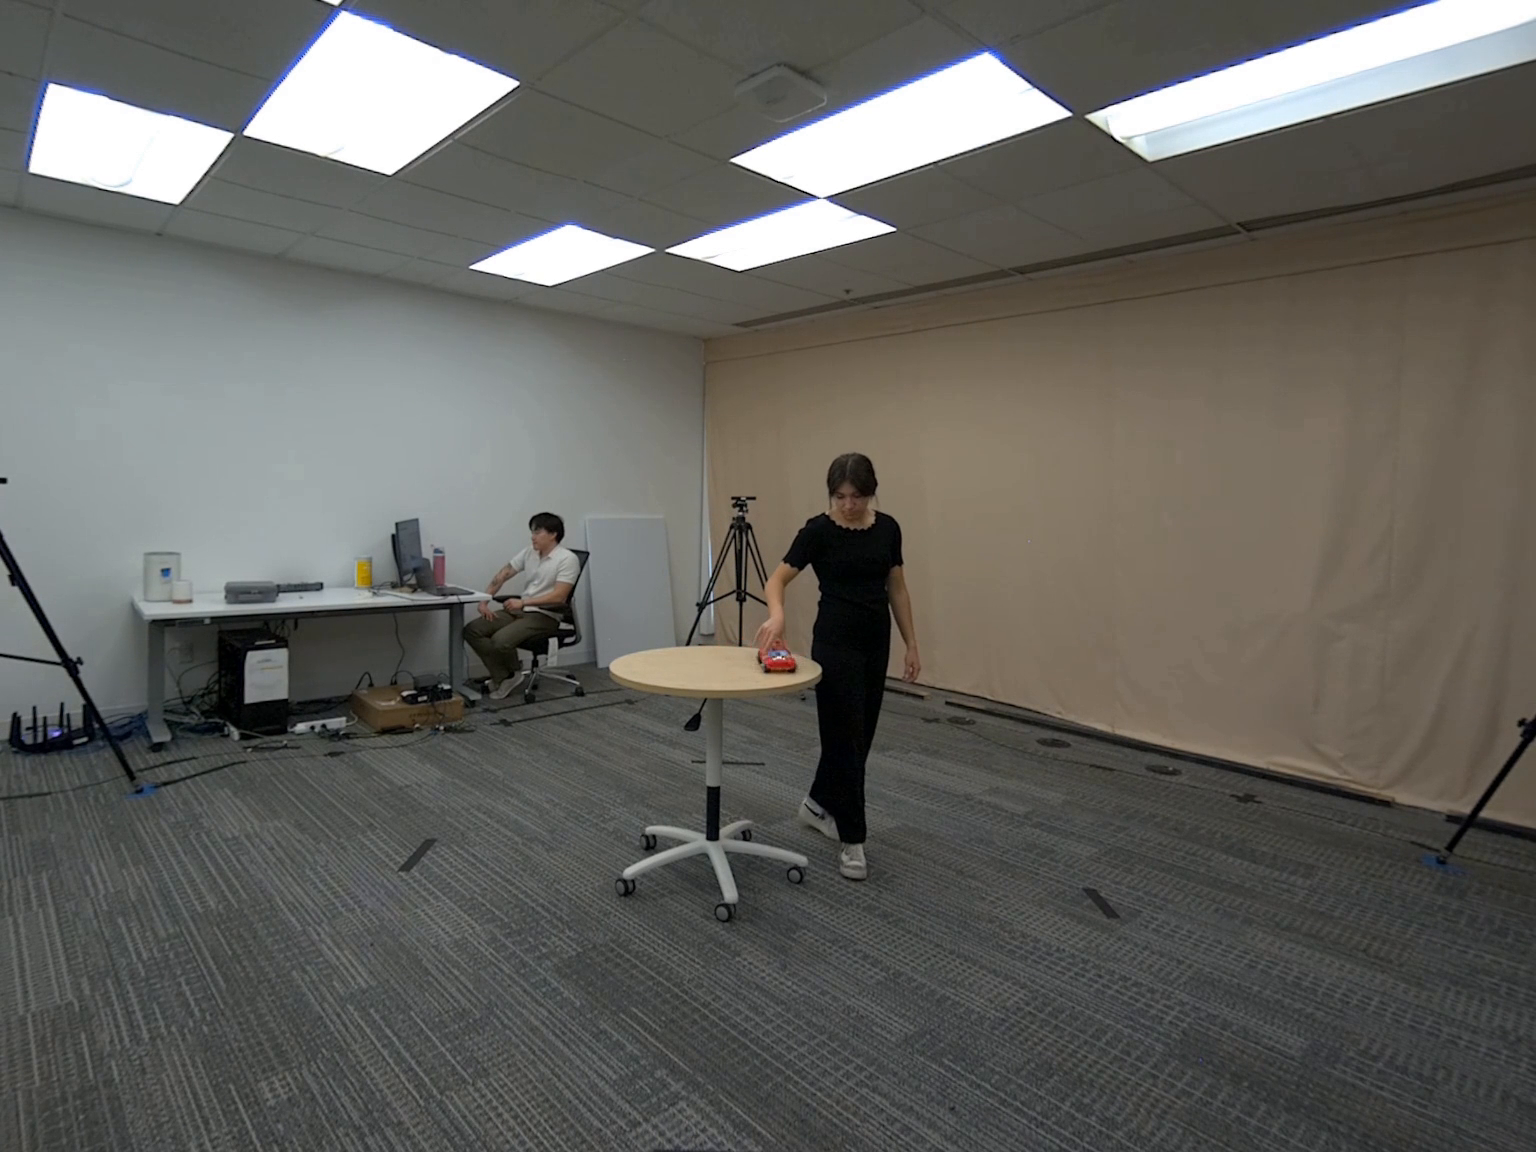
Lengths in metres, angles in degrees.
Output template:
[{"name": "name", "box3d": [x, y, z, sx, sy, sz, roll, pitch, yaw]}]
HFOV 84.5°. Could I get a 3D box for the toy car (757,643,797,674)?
[{"name": "toy car", "box3d": [0.014, 0.297, 3.045, 0.130, 0.082, 0.258, 1, 15, -6]}]
